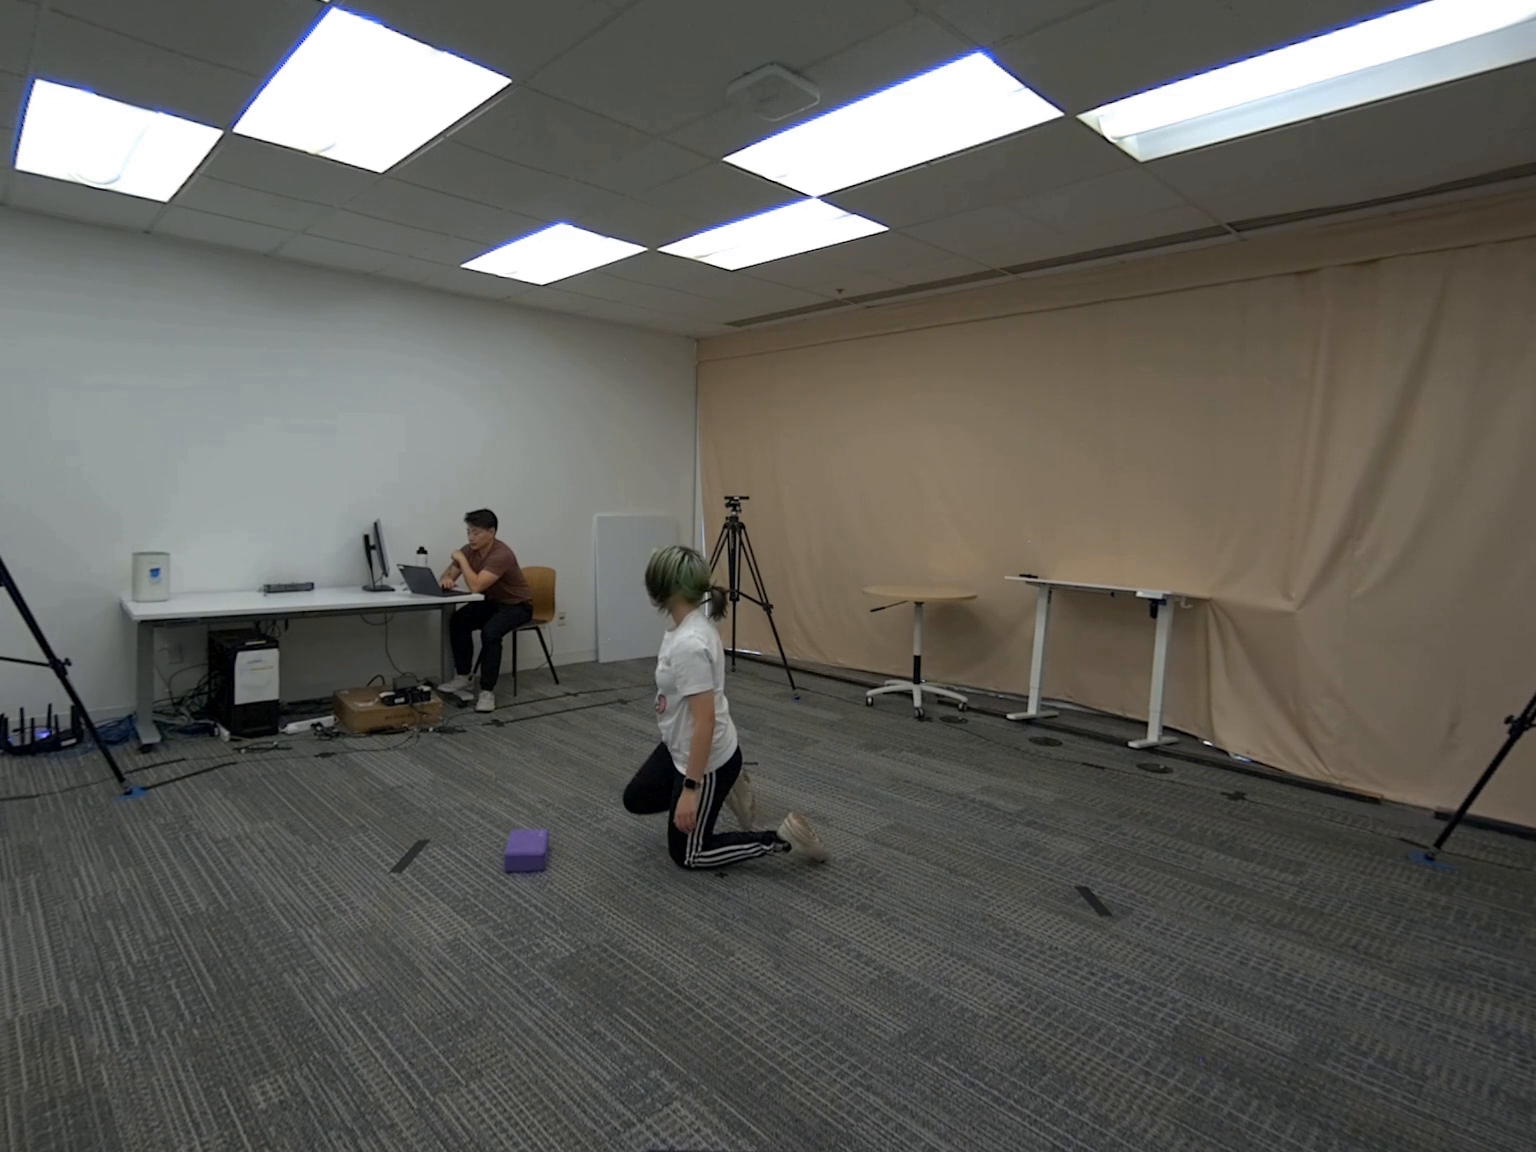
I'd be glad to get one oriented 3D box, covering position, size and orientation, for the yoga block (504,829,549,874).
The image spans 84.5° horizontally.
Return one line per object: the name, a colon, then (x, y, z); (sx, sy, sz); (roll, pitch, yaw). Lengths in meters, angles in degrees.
yoga block: (-0.914, 1.033, 3.196); (0.148, 0.076, 0.232); (1, 6, -10)
